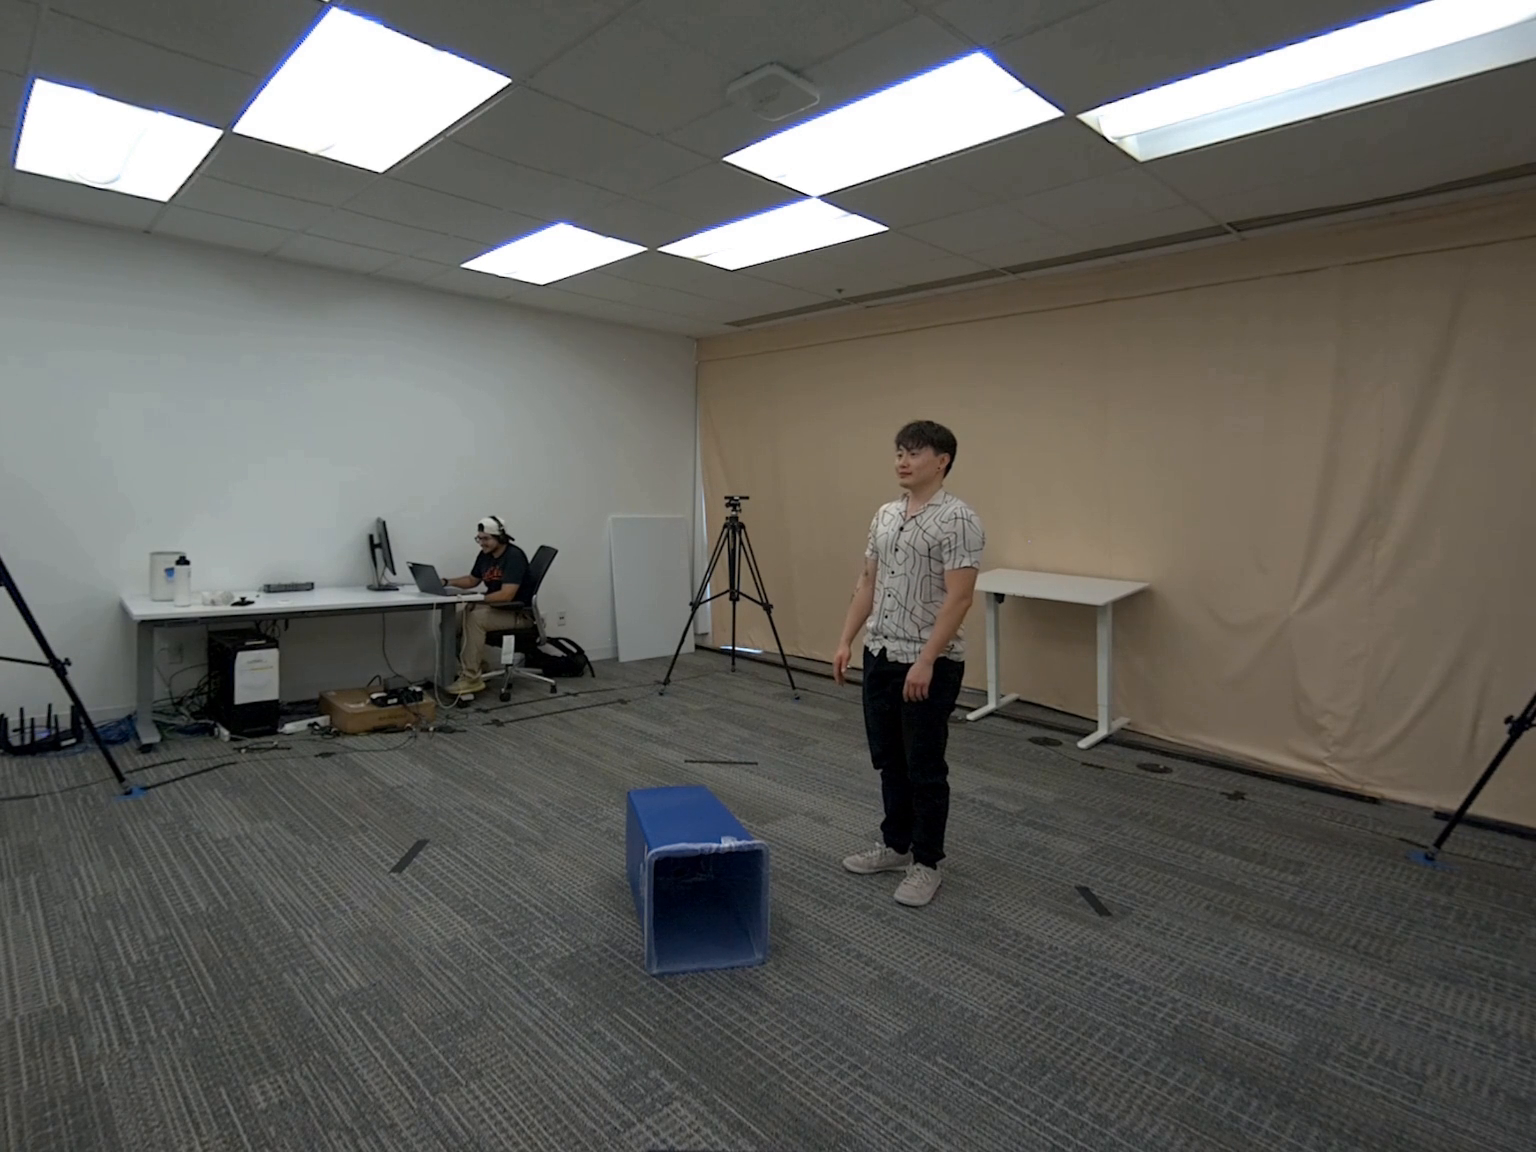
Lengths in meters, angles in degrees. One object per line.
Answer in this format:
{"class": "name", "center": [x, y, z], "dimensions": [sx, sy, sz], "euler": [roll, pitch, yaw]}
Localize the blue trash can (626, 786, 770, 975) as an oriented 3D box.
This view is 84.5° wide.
{"class": "blue trash can", "center": [-0.272, 0.959, 2.808], "dimensions": [0.373, 0.374, 0.722], "euler": [1, 1, -16]}
